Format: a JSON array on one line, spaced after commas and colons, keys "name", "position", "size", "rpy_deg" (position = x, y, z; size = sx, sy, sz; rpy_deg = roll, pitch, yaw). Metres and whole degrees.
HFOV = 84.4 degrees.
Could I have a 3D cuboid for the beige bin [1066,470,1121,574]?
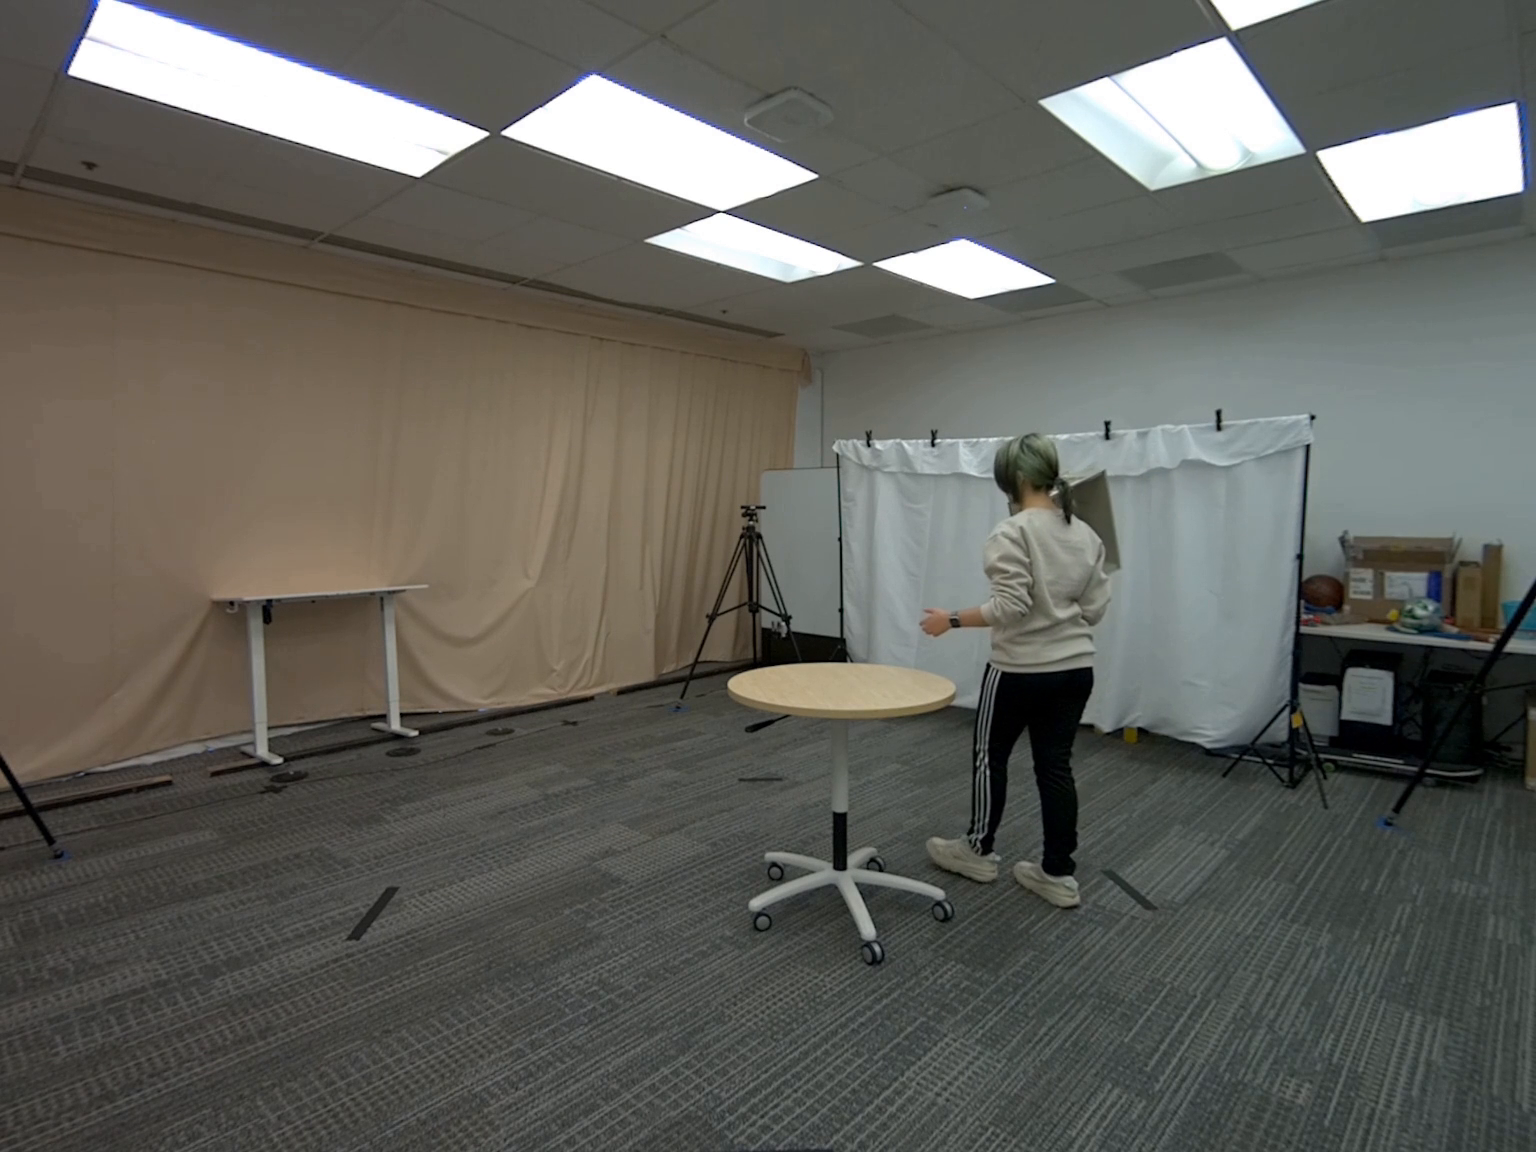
[{"name": "beige bin", "position": [1.161, -0.166, 3.299], "size": [0.372, 0.416, 0.194], "rpy_deg": [-25, 18, -22]}]
